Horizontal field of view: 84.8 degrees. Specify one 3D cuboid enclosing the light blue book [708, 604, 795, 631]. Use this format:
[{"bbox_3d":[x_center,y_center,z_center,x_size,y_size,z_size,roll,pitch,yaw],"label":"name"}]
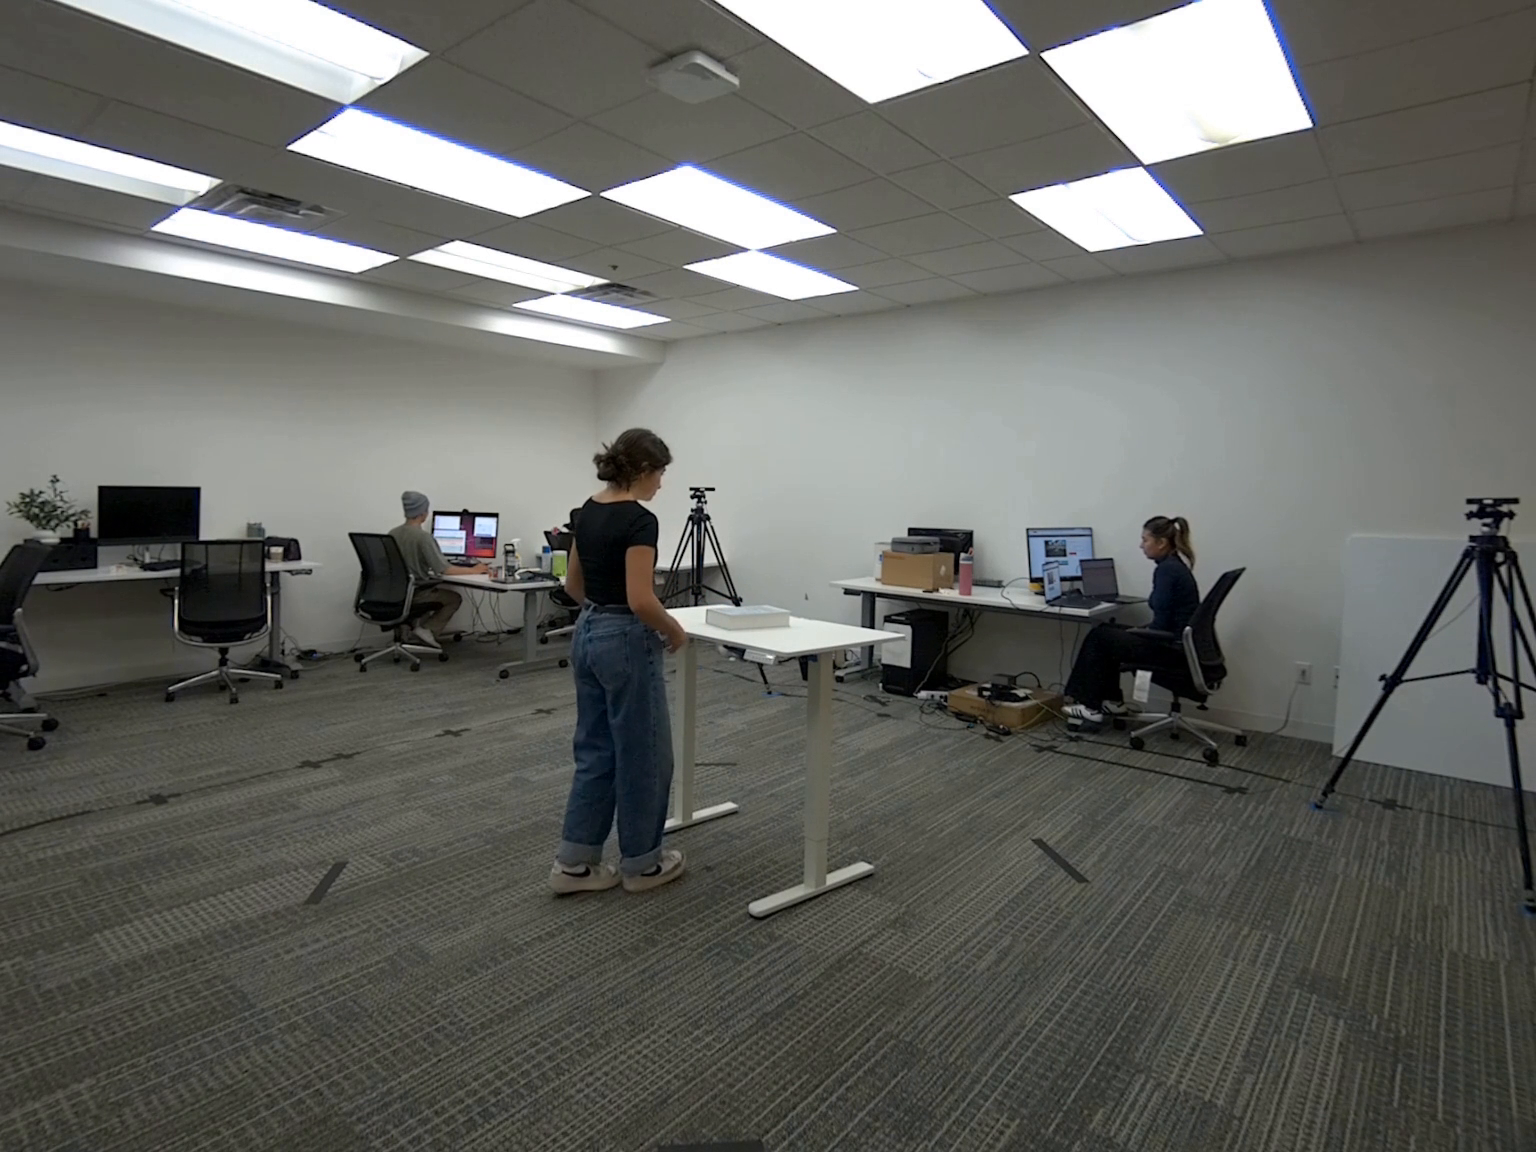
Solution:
[{"bbox_3d":[-0.065,0.152,3.175,0.254,0.059,0.197,-2,5,-30],"label":"light blue book"}]
